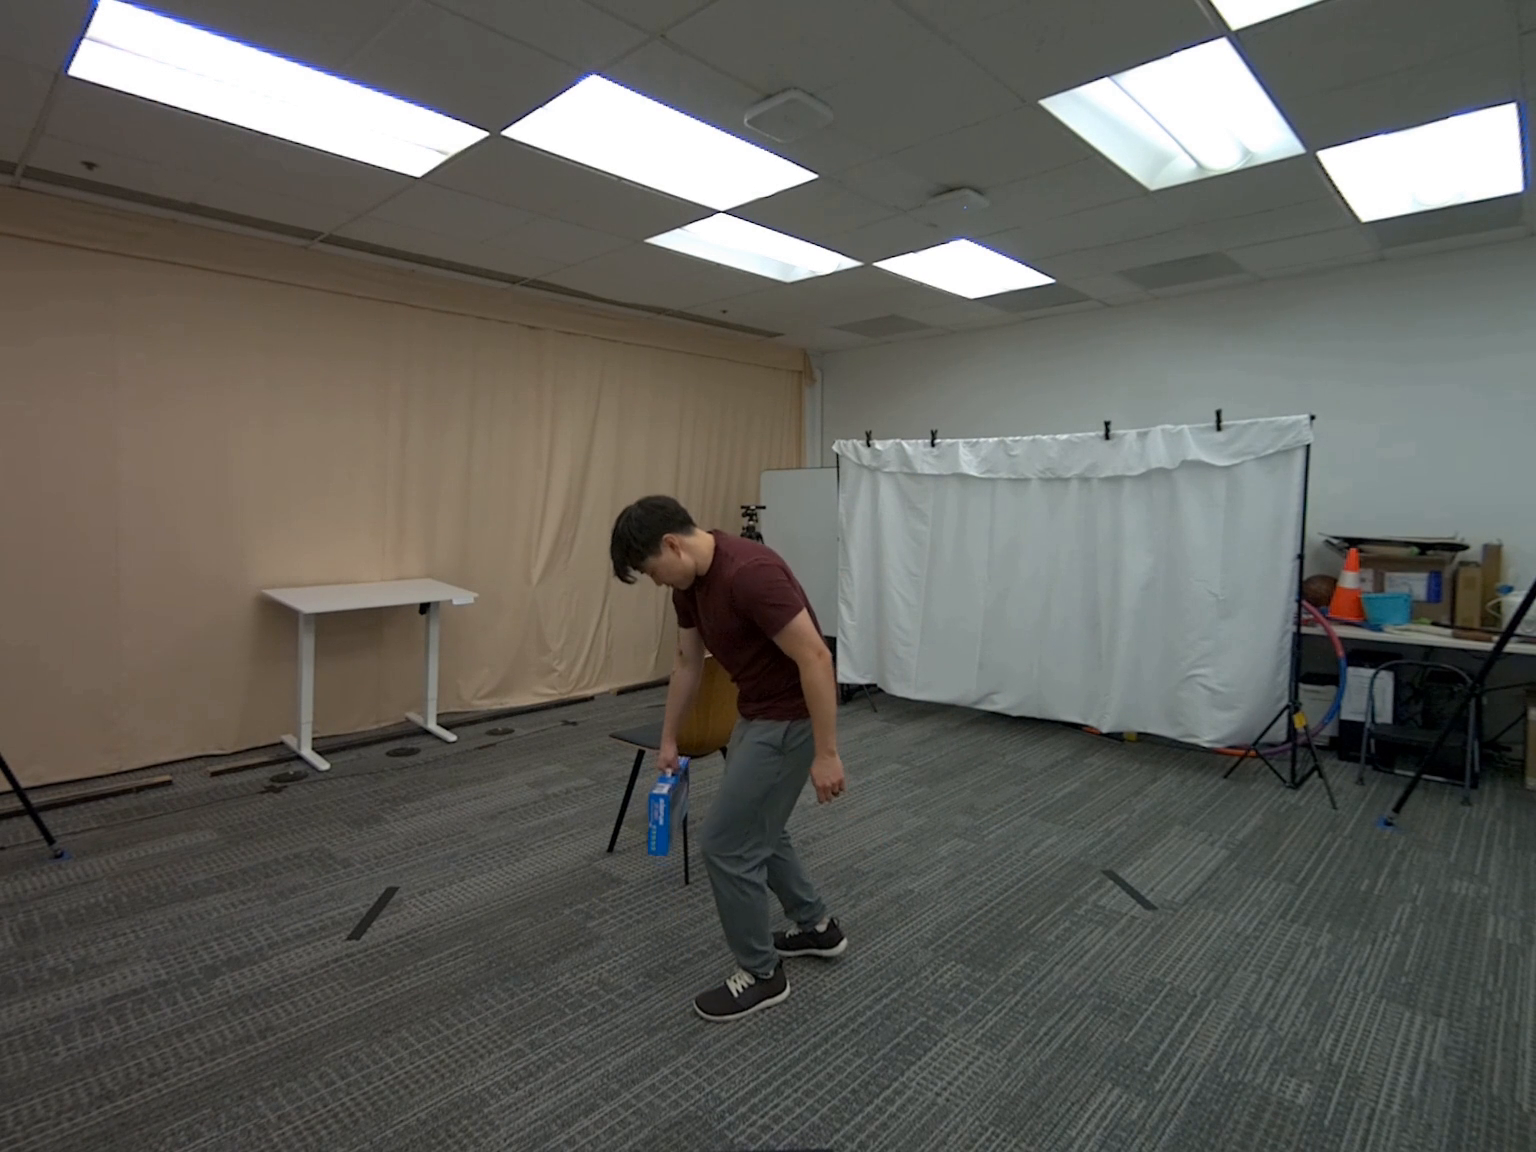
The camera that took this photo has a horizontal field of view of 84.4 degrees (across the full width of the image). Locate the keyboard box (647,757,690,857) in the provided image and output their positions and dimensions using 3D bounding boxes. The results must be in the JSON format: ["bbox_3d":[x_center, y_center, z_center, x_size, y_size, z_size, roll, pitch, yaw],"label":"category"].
[{"bbox_3d":[-0.296,0.690,2.568,0.059,0.176,0.435,0,2,3],"label":"keyboard box"}]
